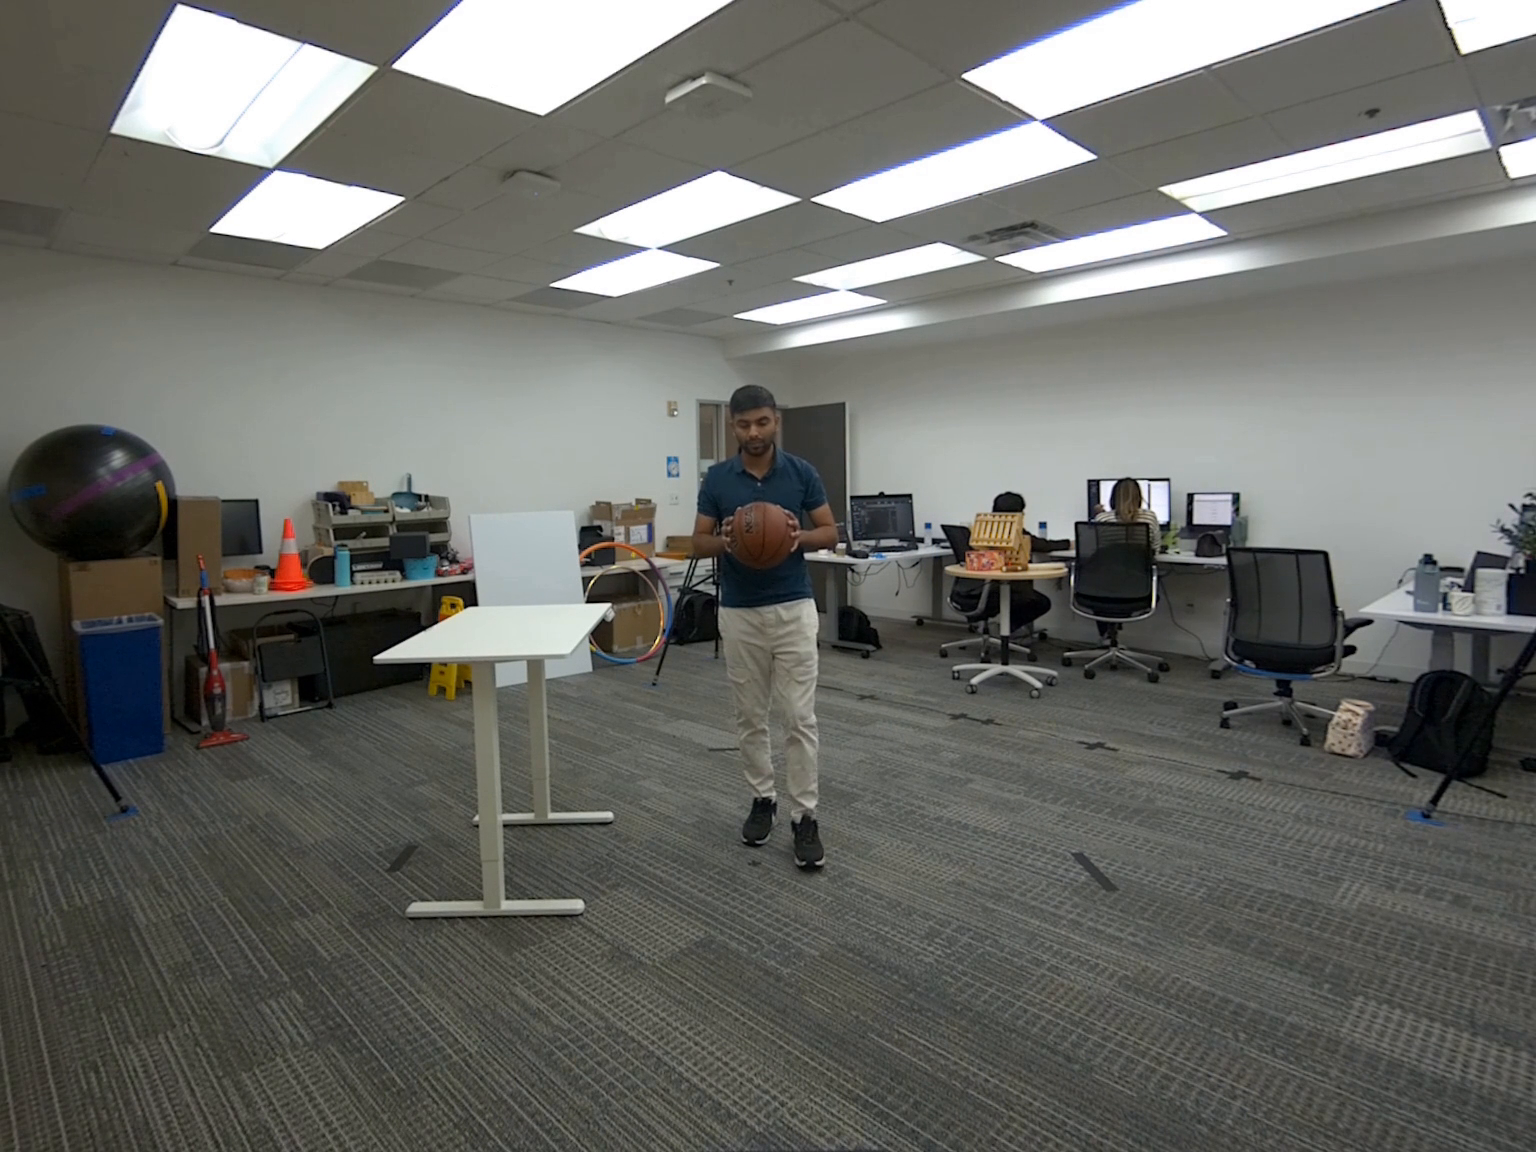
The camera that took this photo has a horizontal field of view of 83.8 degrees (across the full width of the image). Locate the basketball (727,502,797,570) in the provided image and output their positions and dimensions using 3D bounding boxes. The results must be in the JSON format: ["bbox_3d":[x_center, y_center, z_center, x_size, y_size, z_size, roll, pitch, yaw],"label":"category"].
[{"bbox_3d":[-0.028,-0.143,3.038,0.236,0.235,0.237,-1,5,-2],"label":"basketball"}]
